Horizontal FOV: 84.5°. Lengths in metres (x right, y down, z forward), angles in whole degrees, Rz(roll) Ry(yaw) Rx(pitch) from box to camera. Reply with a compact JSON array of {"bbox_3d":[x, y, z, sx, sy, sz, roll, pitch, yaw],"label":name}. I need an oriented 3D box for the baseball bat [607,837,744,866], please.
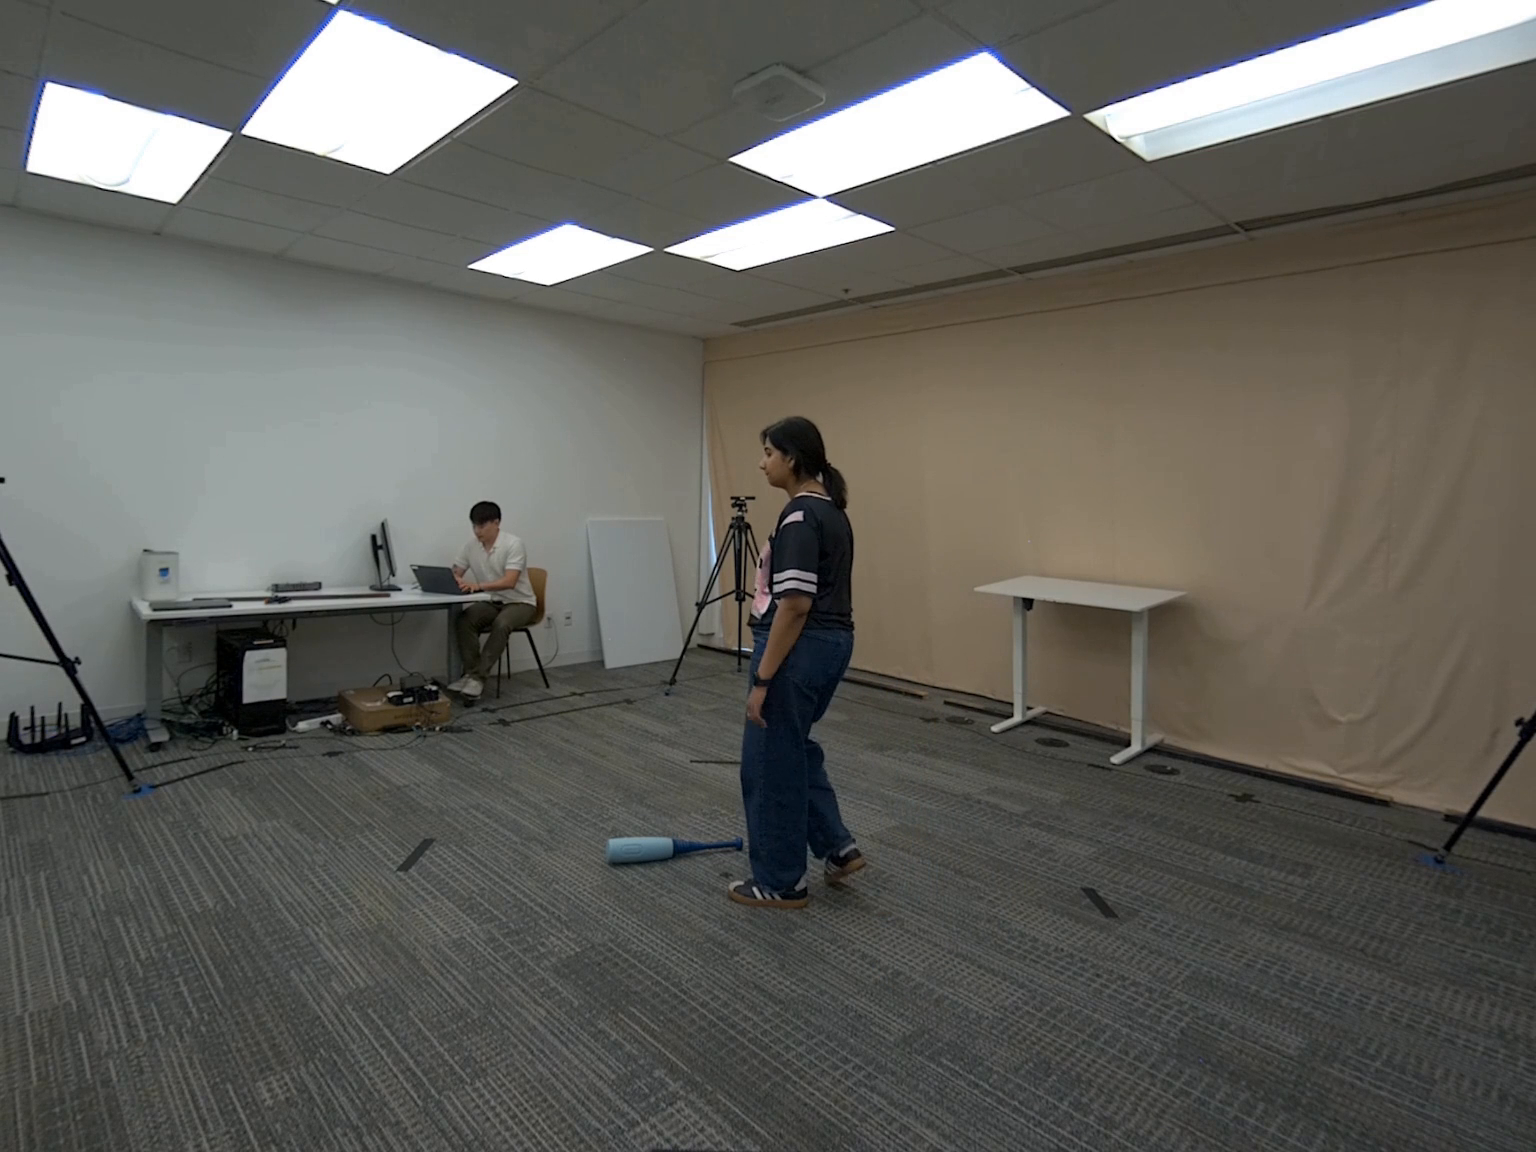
[{"bbox_3d":[-0.367,1.058,3.241,0.535,0.089,0.090,4,3,-19],"label":"baseball bat"}]
